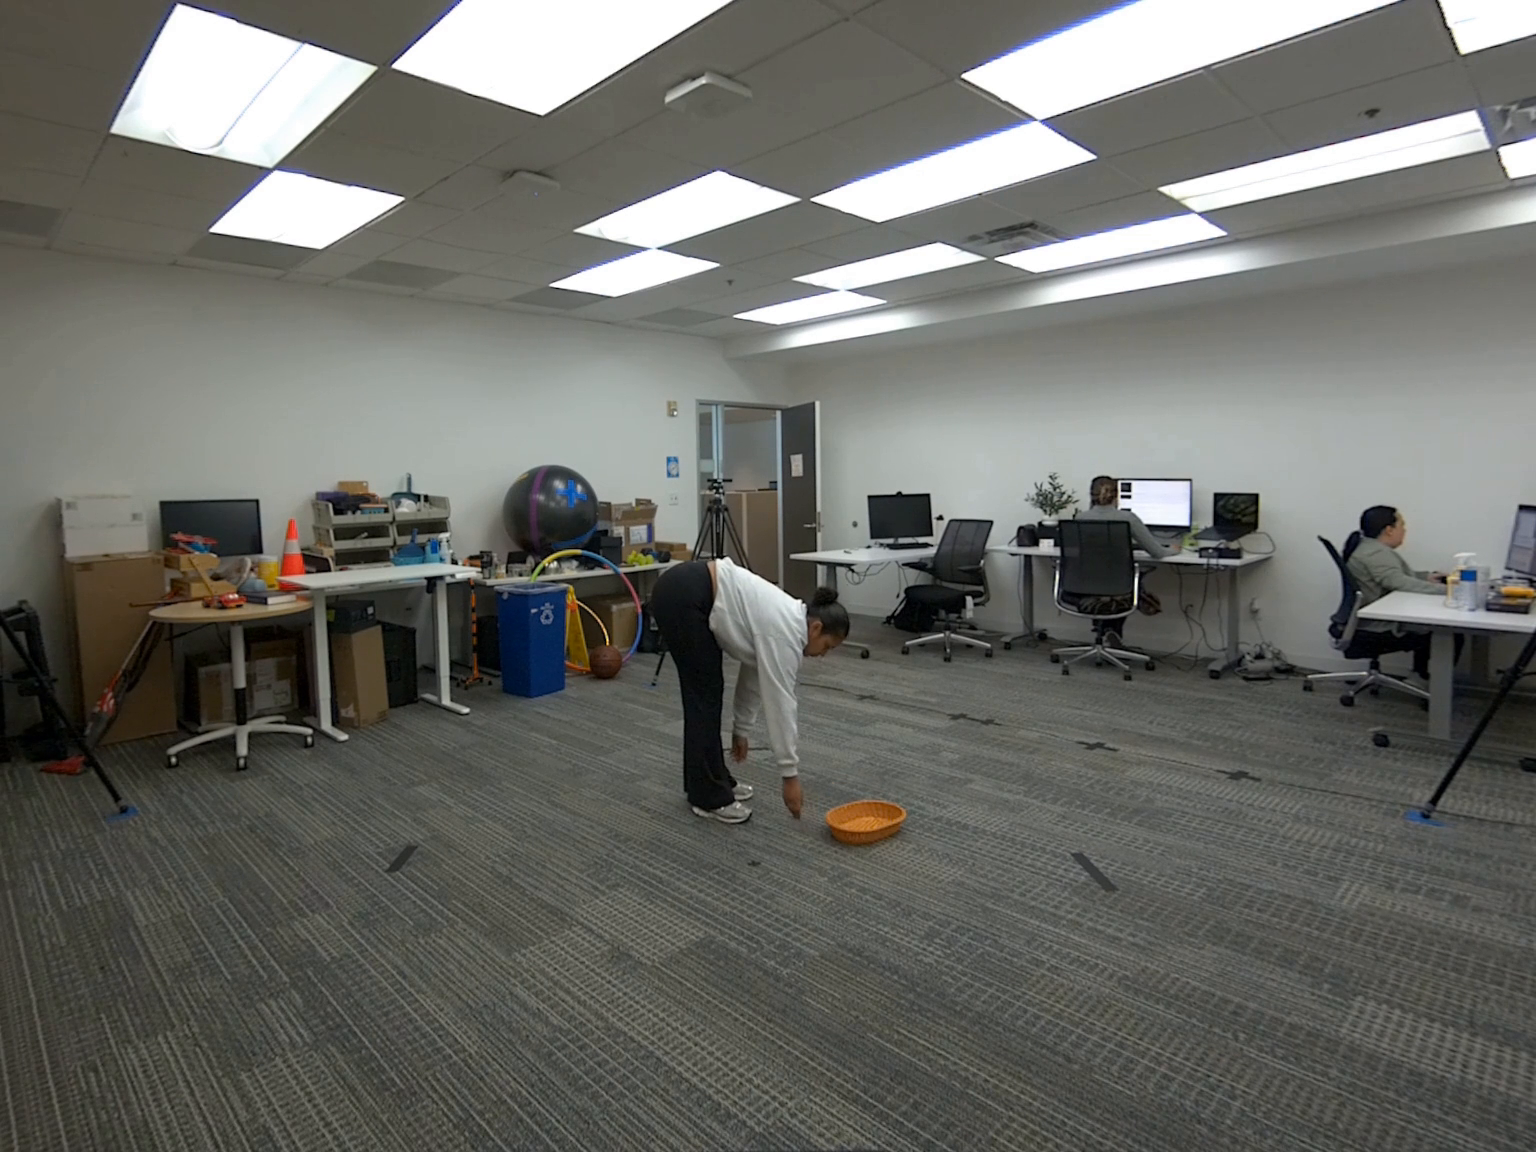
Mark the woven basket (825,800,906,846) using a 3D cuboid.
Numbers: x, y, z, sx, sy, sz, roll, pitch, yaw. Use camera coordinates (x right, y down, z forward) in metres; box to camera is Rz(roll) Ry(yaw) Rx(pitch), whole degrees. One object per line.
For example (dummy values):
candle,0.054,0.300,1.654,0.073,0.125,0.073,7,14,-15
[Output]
woven basket,0.384,0.968,3.362,0.342,0.073,0.260,-5,8,-34
